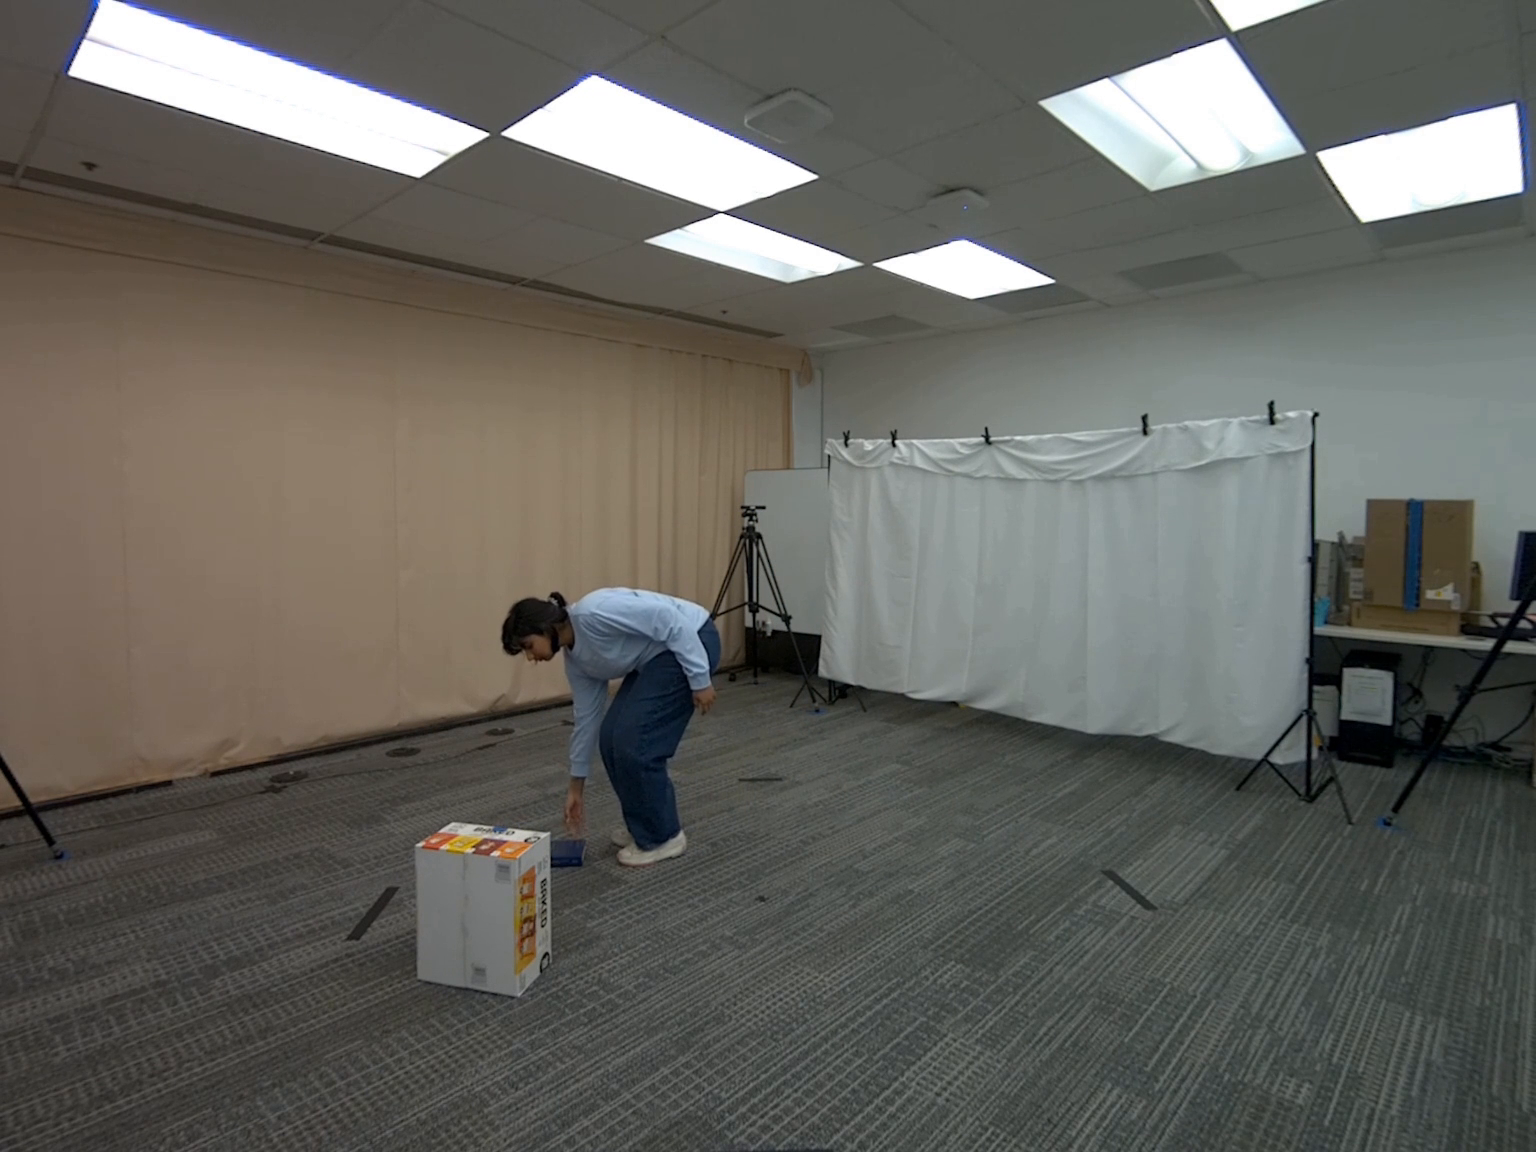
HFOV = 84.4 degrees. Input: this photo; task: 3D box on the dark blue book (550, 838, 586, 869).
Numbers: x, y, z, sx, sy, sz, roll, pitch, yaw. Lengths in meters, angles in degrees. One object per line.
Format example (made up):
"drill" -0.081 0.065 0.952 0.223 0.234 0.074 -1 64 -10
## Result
"dark blue book" -0.851 1.103 3.343 0.244 0.045 0.164 -1 4 -4
